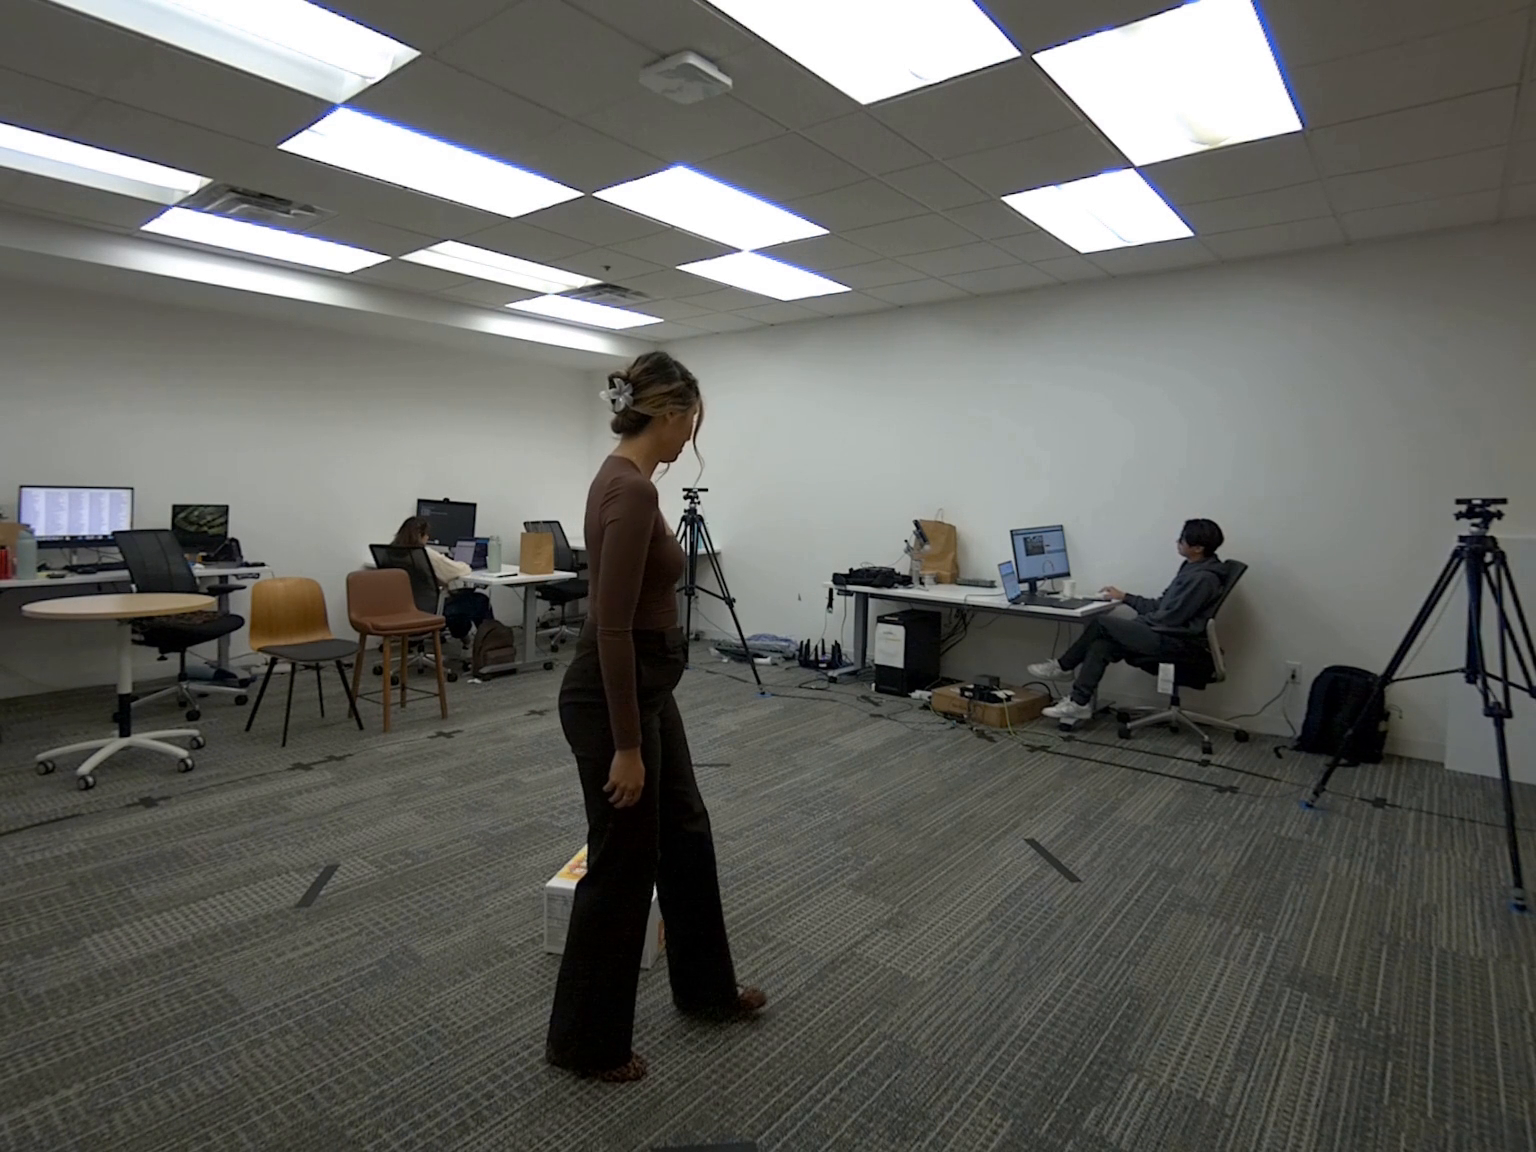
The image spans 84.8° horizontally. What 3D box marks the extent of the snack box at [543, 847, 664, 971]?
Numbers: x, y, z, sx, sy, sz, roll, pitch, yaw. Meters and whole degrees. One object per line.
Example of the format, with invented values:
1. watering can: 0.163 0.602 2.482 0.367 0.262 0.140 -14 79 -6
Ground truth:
1. snack box: -0.467 1.002 2.670 0.346 0.205 0.400 2 5 13
